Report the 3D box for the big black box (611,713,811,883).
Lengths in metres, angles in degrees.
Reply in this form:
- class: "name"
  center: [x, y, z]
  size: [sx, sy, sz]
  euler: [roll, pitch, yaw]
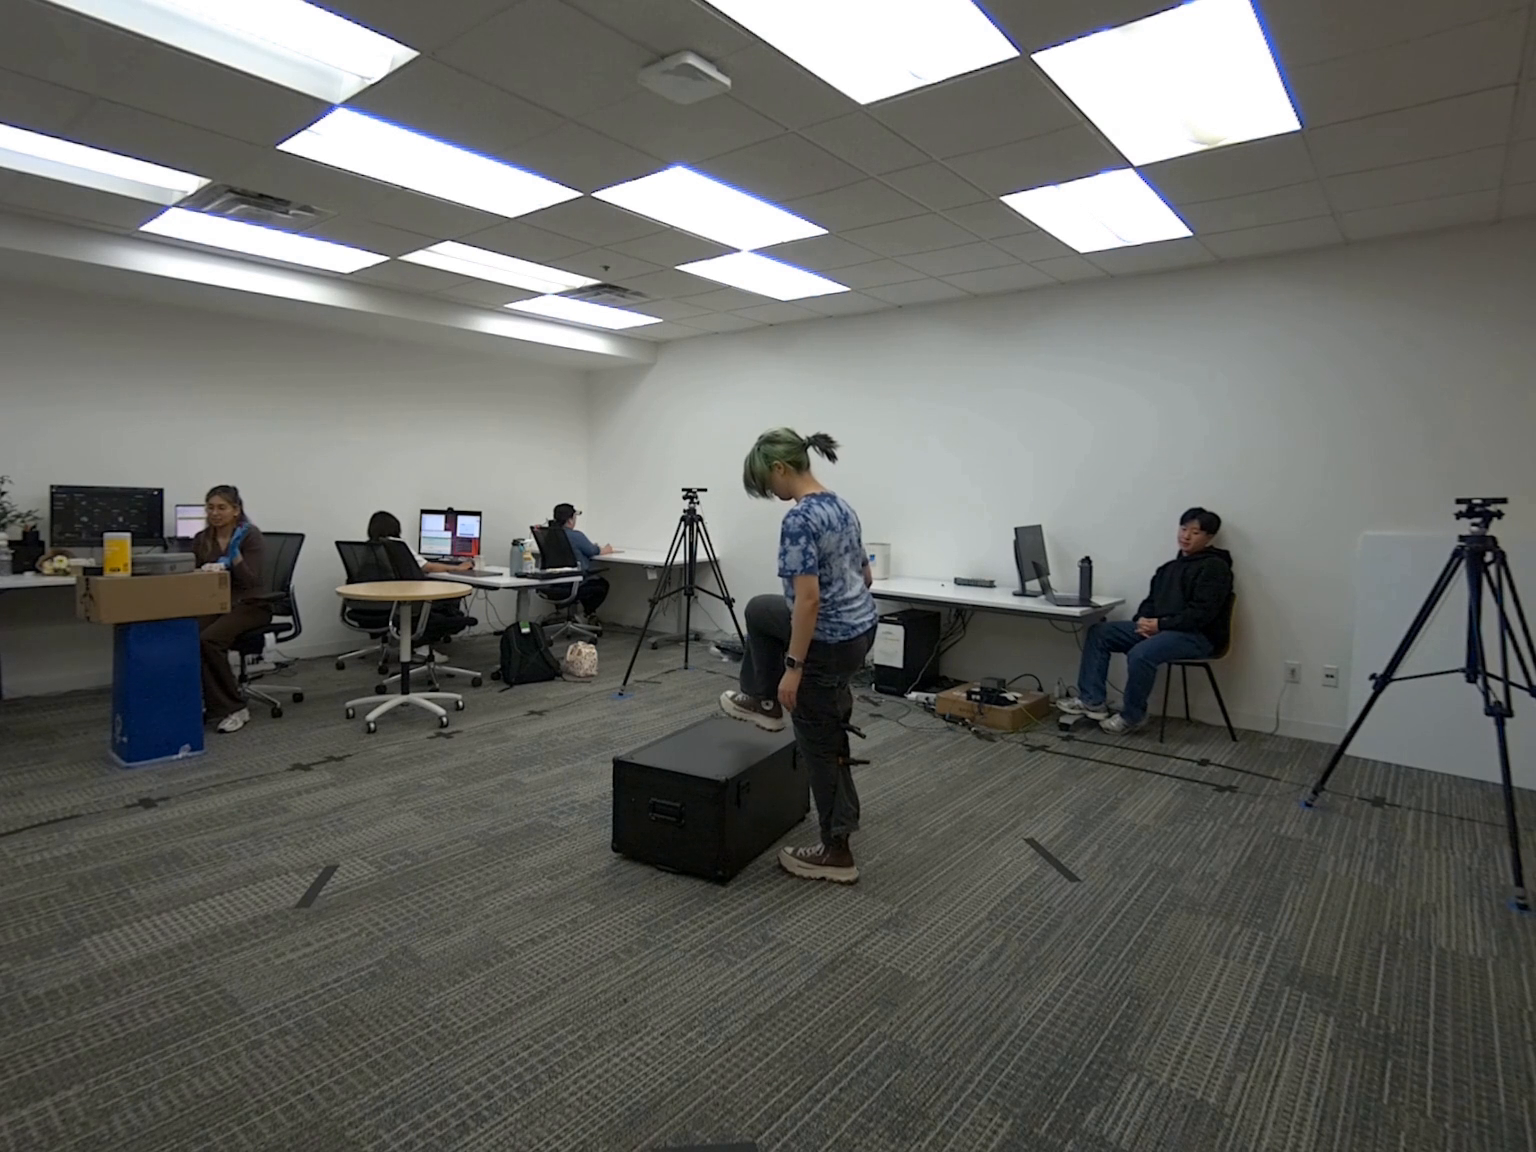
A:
- class: "big black box"
  center: [-0.197, 0.849, 3.434]
  size: [0.536, 0.395, 0.842]
  euler: [3, 6, 27]
